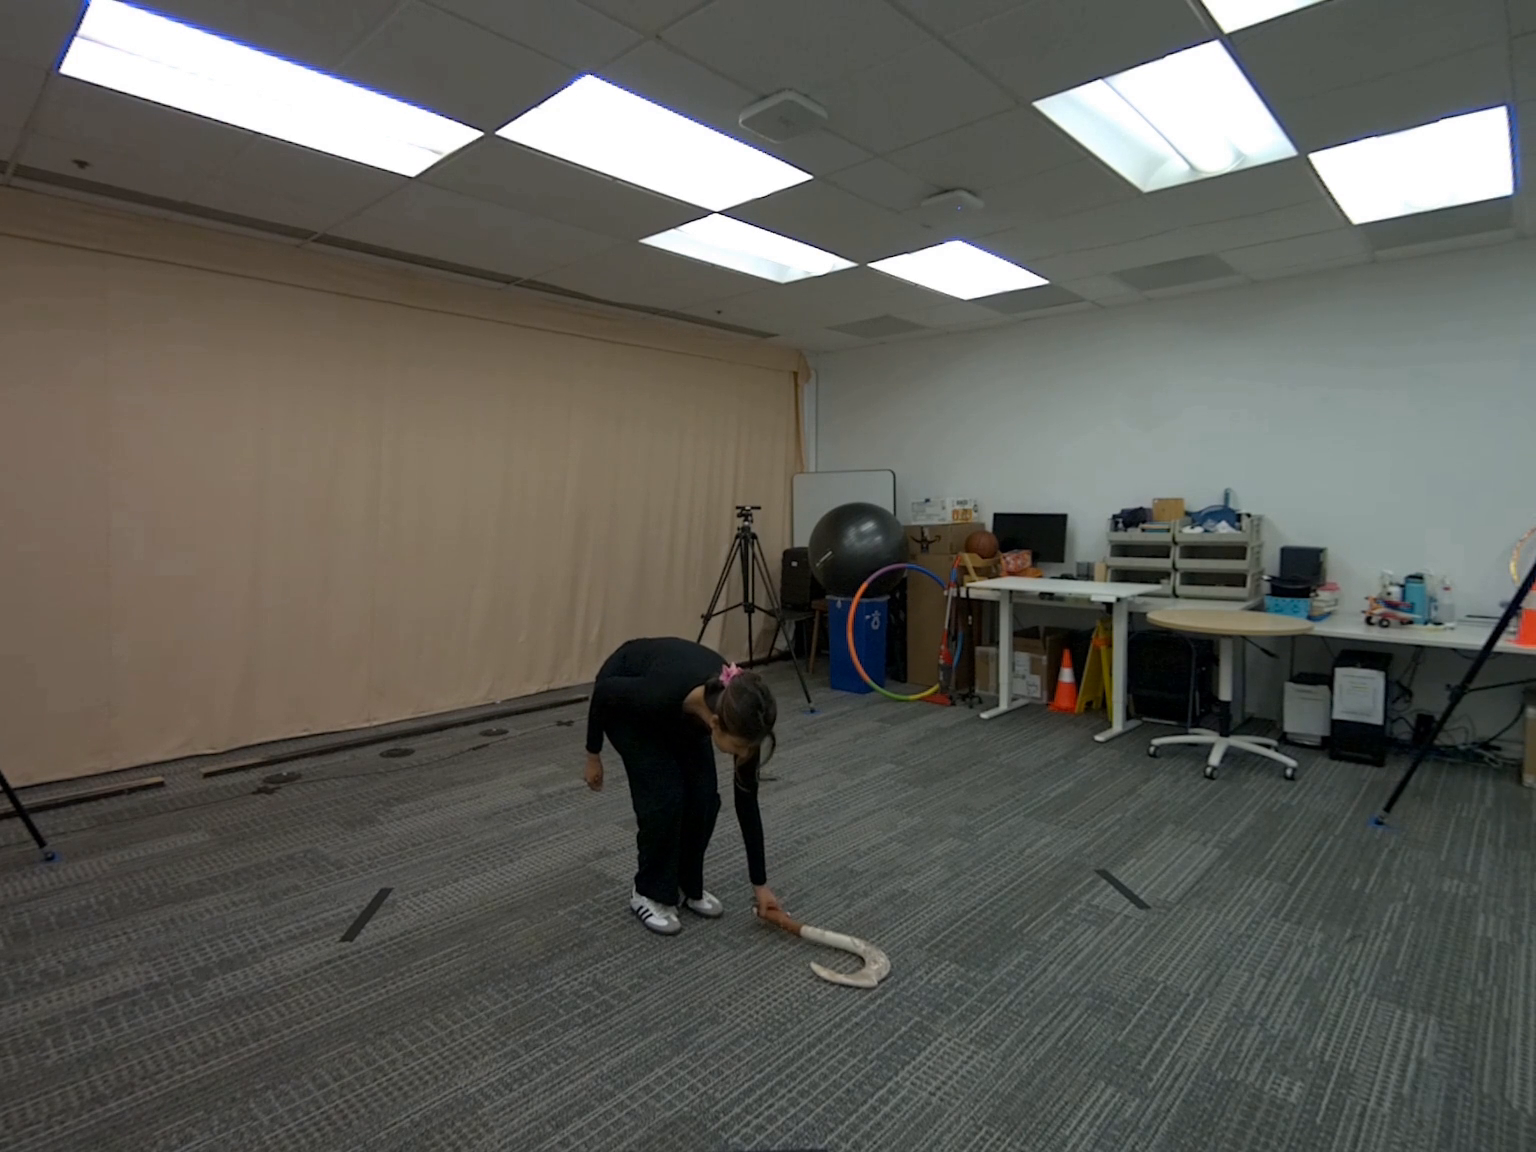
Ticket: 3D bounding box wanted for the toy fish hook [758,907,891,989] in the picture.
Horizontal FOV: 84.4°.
[{"bbox_3d":[0.137,1.137,2.610,0.523,0.048,0.218,7,6,37],"label":"toy fish hook"}]
